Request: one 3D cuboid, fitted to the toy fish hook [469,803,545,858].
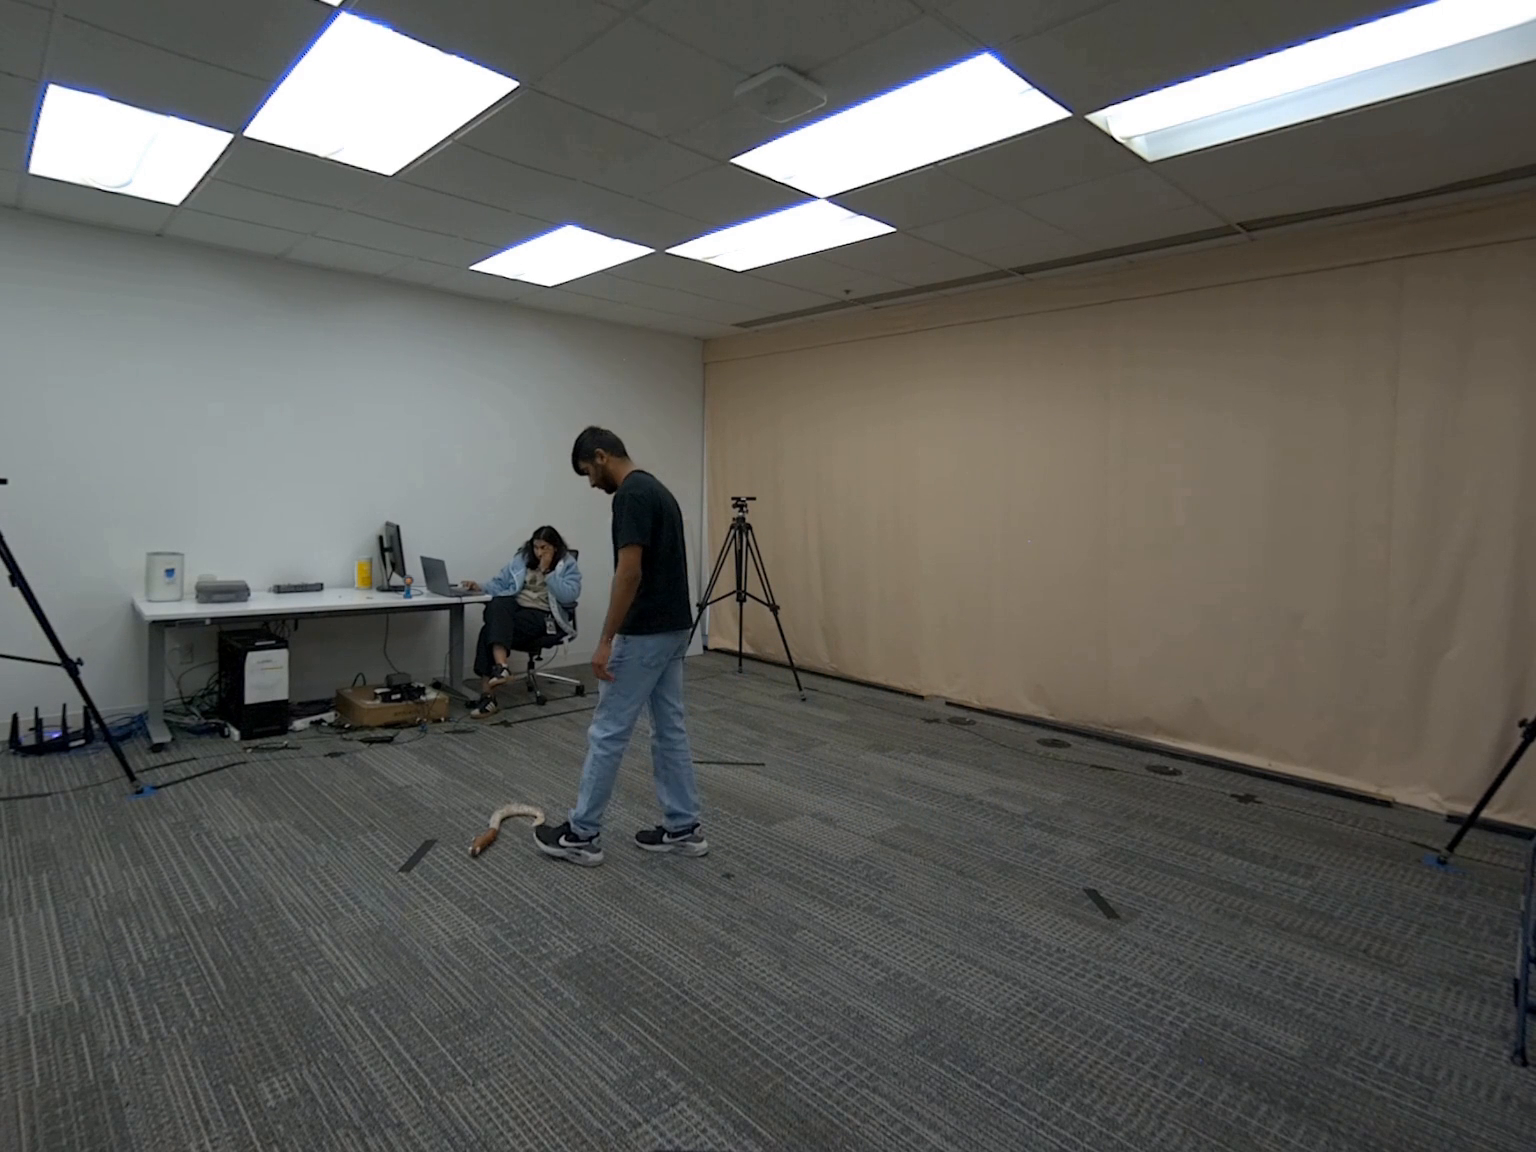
[{"bbox_3d":[-1.069,1.033,3.443,0.225,0.048,0.507,1,6,2],"label":"toy fish hook"}]
